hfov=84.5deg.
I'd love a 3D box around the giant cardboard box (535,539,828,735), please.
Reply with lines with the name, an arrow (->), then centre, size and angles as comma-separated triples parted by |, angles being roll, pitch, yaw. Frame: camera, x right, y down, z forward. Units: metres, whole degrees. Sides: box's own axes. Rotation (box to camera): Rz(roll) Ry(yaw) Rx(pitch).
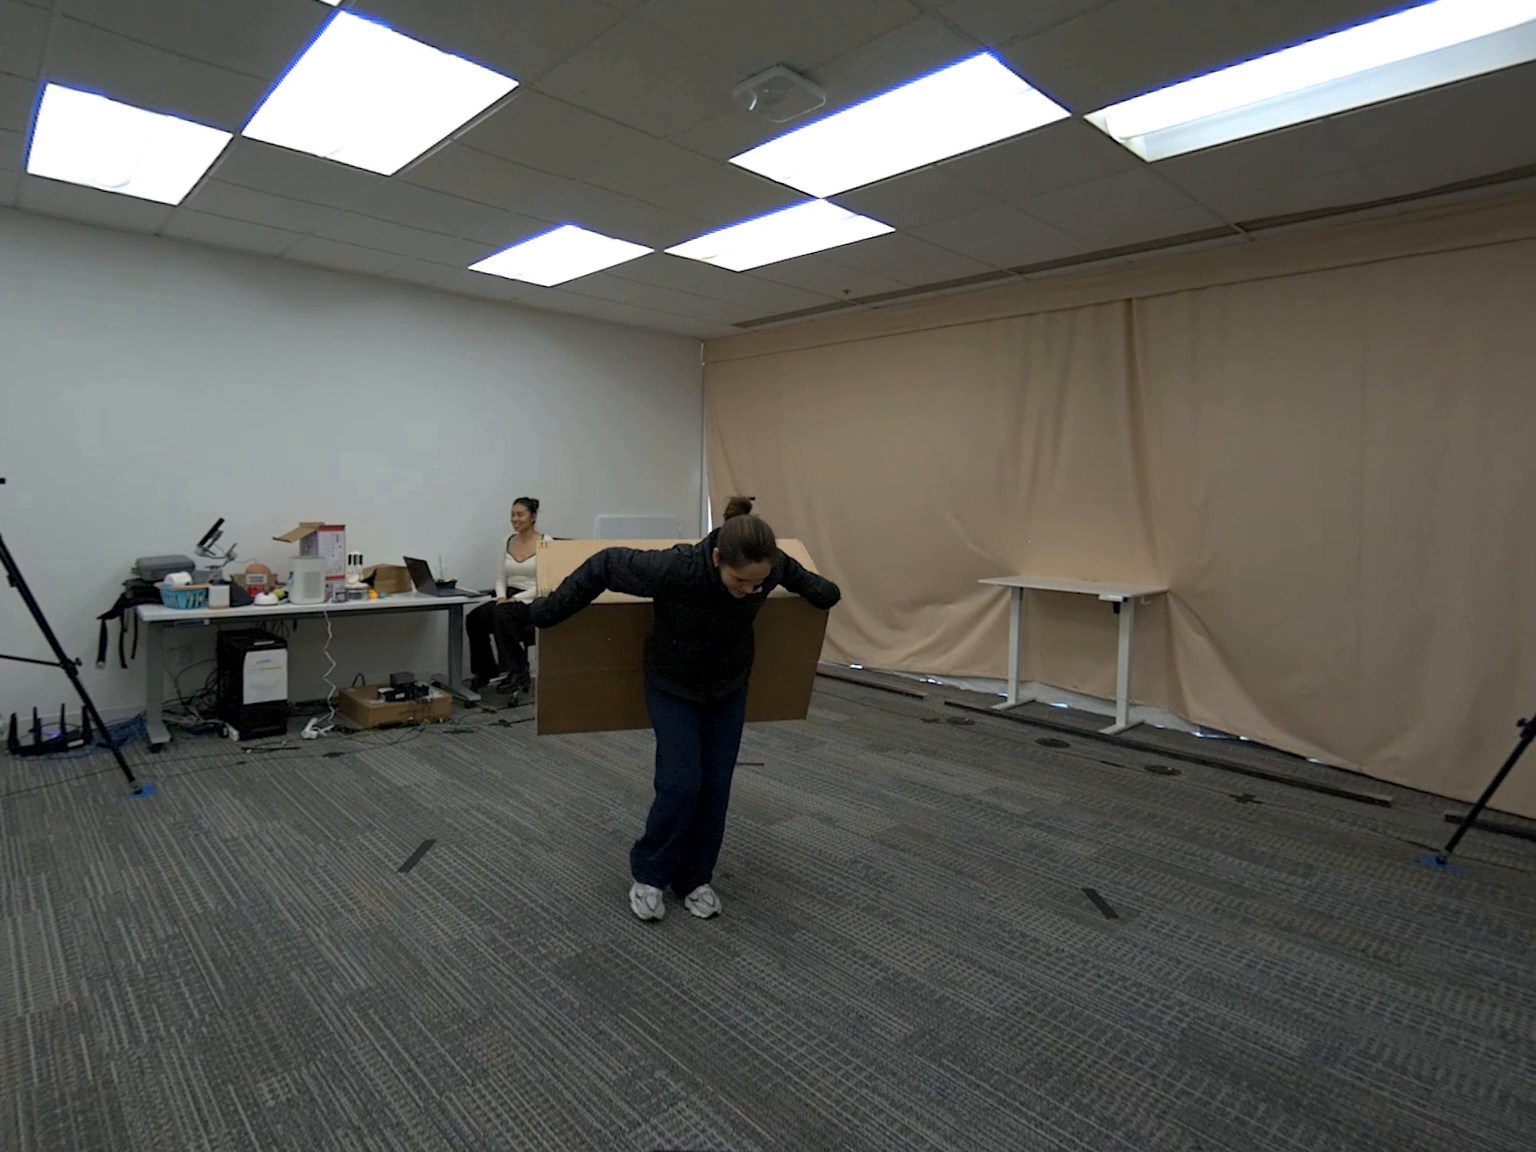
giant cardboard box -> -0.353, 0.217, 3.163 | 1.014, 0.568, 0.438 | -1, 32, -15
